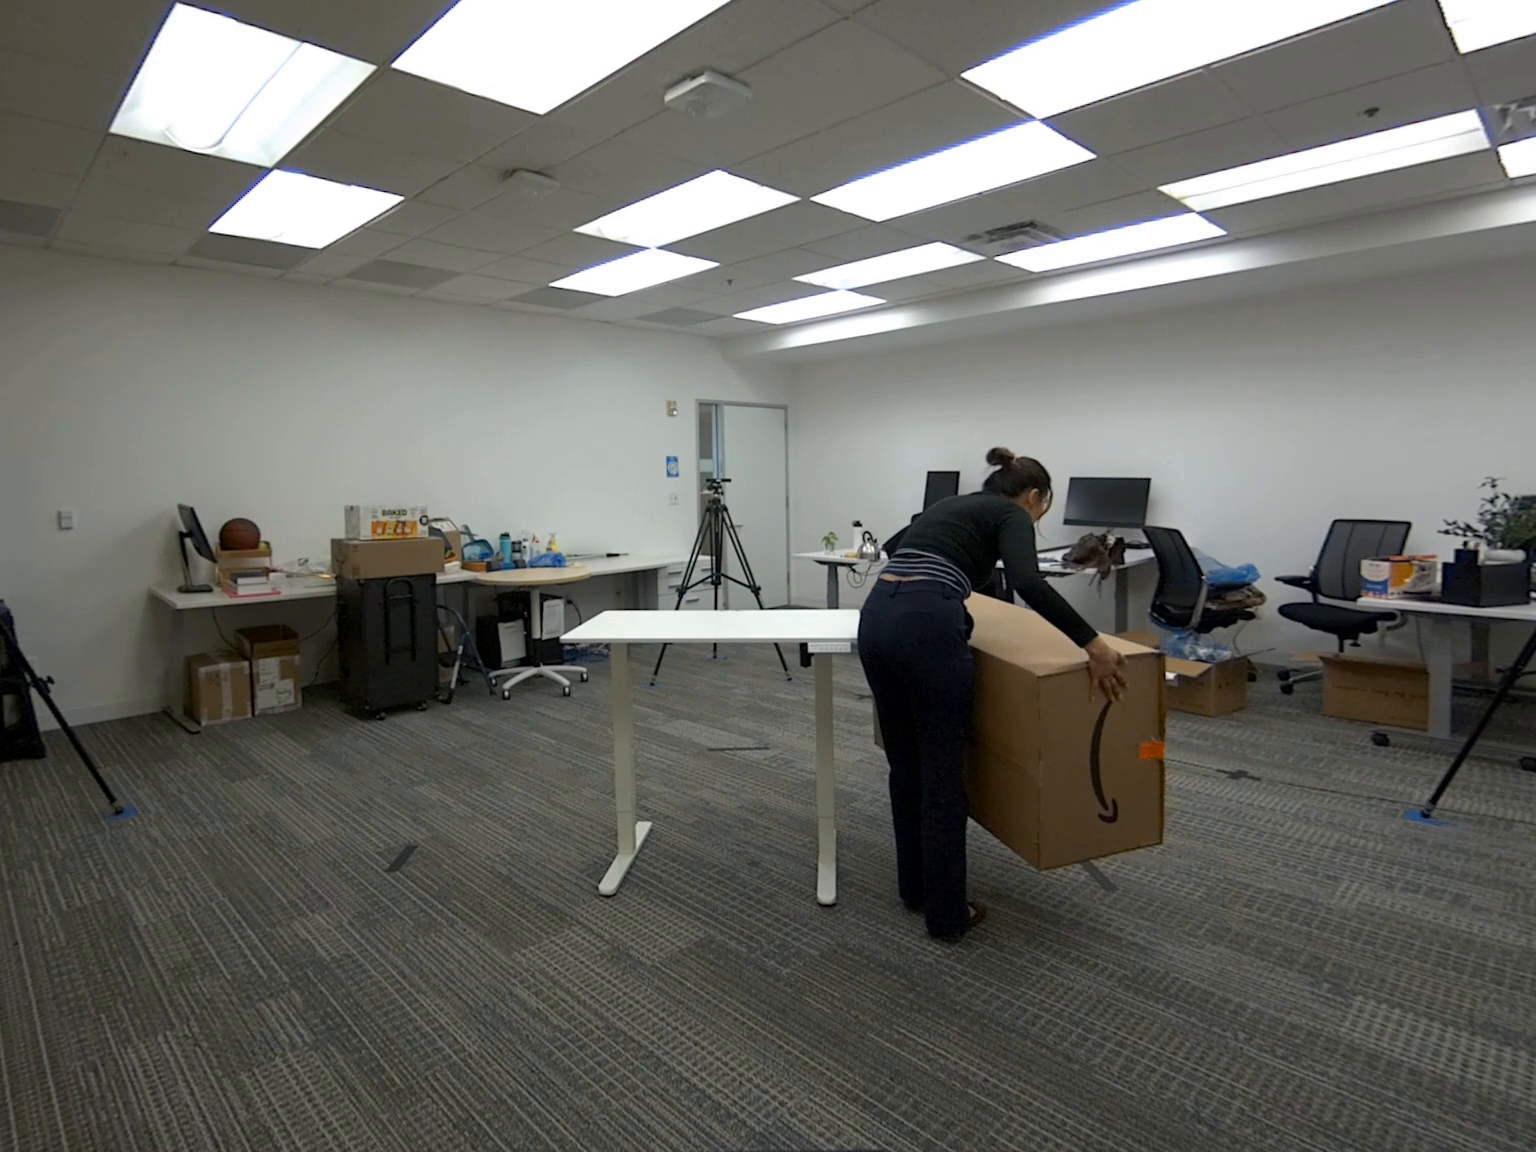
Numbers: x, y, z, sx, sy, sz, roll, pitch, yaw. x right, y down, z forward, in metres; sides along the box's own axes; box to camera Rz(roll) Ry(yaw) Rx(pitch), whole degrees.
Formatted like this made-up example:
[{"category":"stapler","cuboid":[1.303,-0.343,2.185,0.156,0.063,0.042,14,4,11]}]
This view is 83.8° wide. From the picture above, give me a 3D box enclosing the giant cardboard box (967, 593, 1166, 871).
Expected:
[{"category":"giant cardboard box","cuboid":[0.785,0.434,2.883,0.420,0.573,1.050,-6,10,-18]}]
